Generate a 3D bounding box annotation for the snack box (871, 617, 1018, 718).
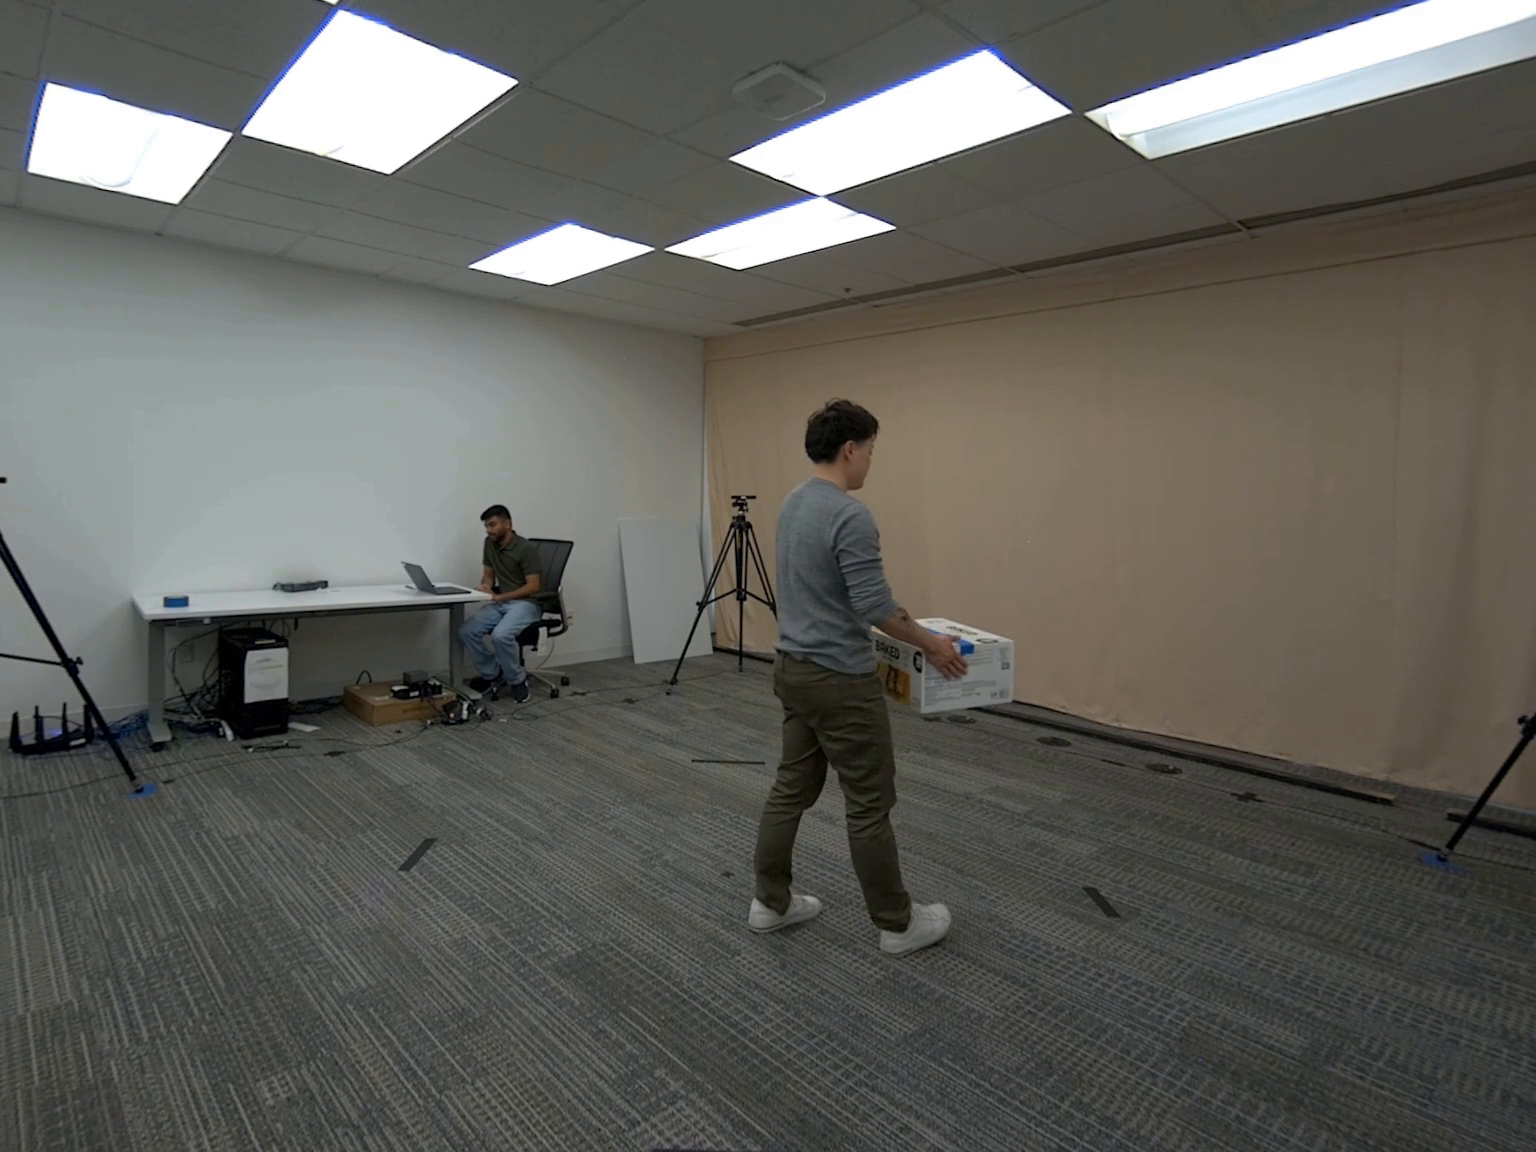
[{"bbox_3d":[0.543,0.287,2.788,0.335,0.204,0.413,-4,8,-22],"label":"snack box"}]
